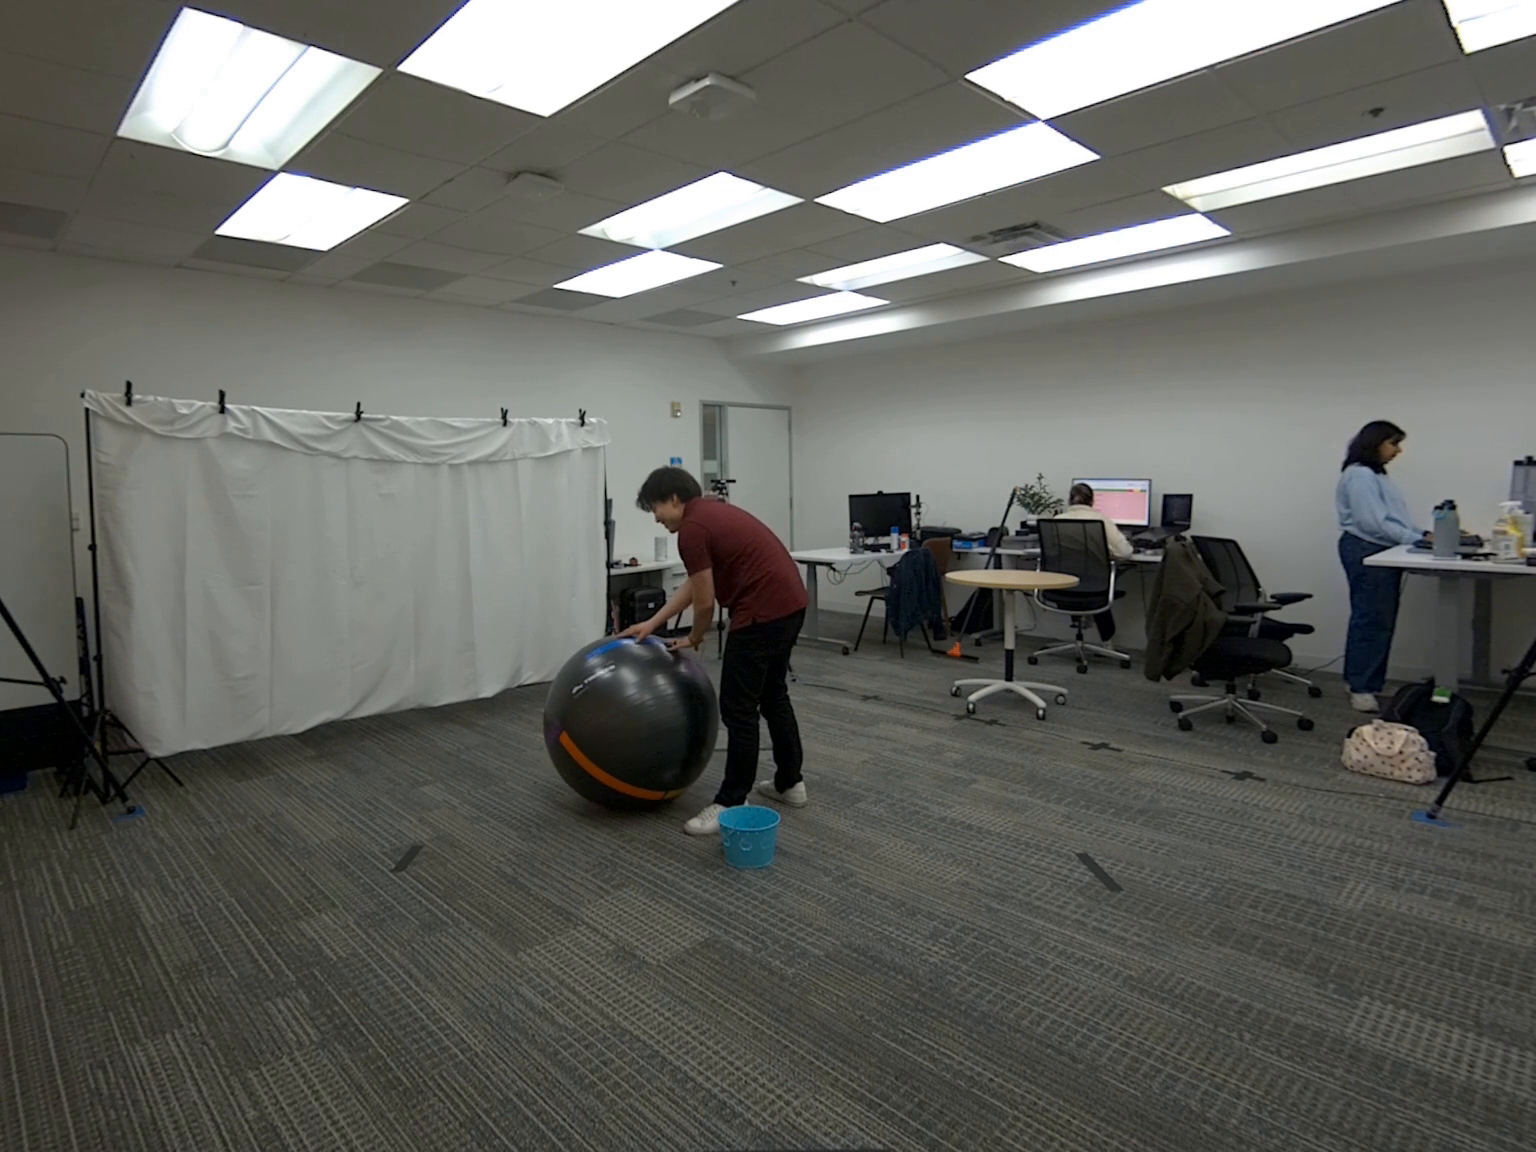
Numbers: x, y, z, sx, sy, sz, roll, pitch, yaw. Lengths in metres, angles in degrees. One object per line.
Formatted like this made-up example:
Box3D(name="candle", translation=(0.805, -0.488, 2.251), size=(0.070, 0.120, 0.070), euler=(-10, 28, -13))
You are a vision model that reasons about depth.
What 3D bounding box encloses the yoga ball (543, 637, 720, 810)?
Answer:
Box3D(name="yoga ball", translation=(-0.603, 0.628, 3.732), size=(0.757, 0.755, 0.762), euler=(-1, 5, -2))
